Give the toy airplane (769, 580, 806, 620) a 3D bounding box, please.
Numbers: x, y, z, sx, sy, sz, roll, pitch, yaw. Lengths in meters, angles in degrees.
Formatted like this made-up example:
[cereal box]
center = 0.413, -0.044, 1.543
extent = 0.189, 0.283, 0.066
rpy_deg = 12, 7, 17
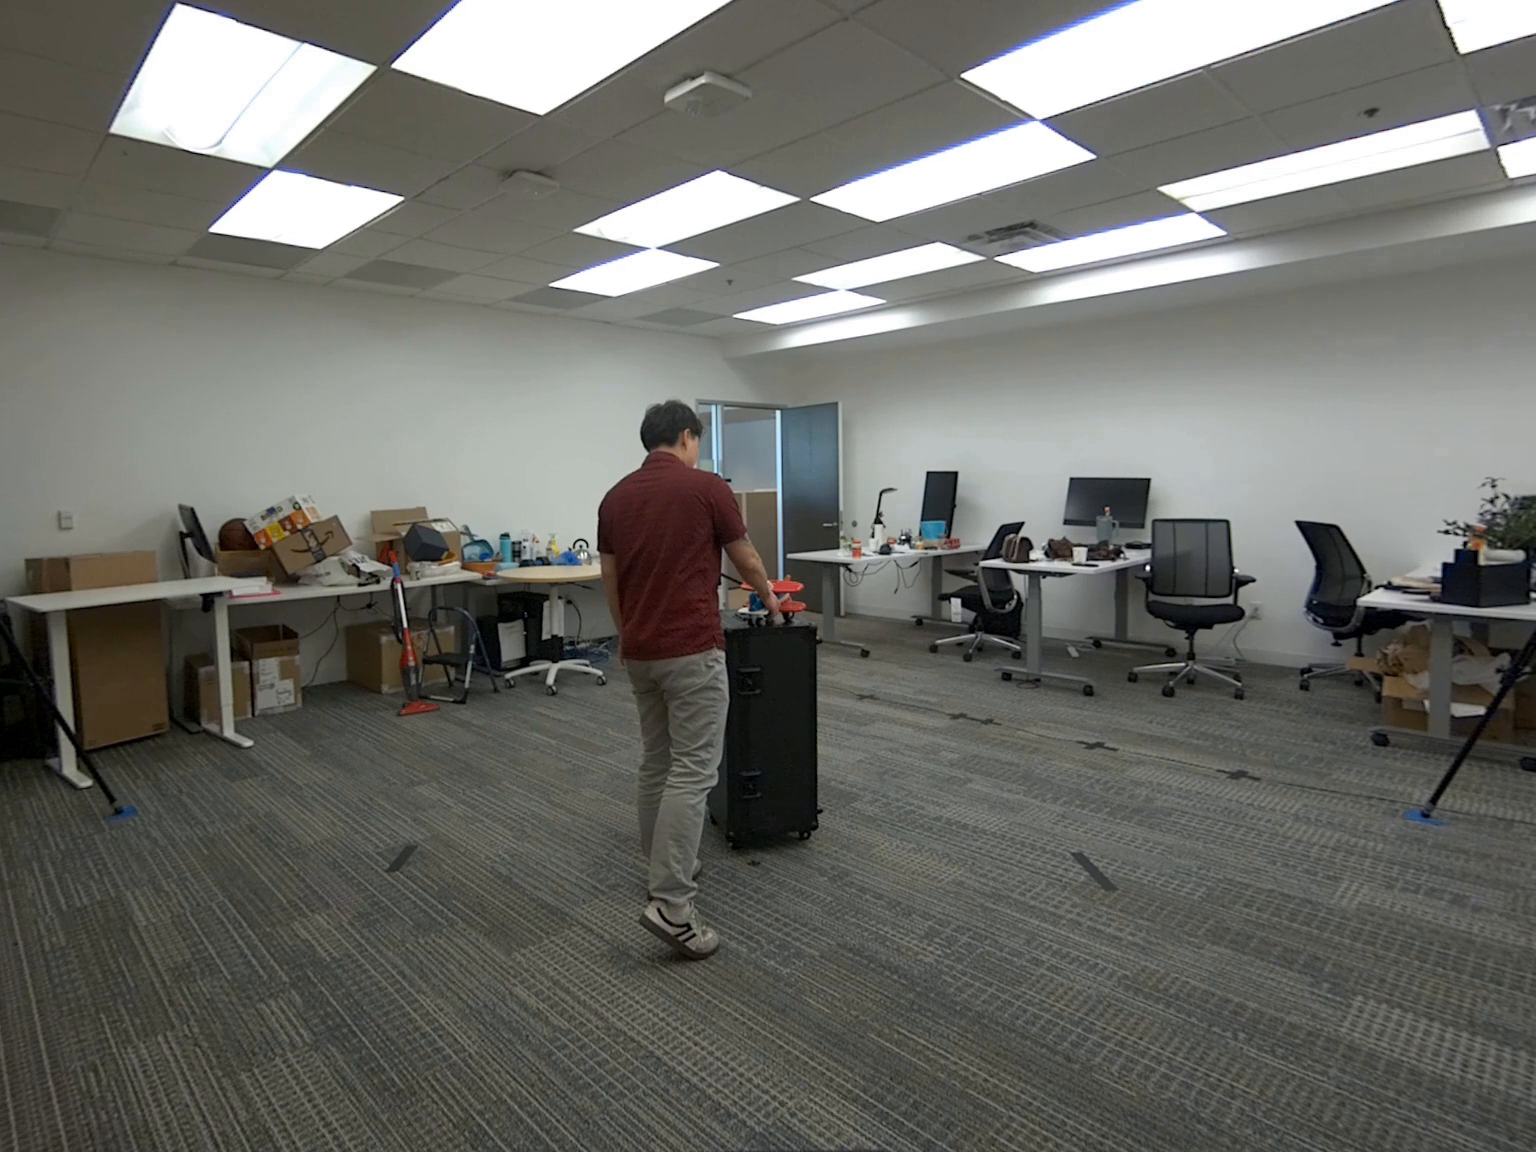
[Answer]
[toy airplane]
center = 0.020, 0.099, 3.214
extent = 0.252, 0.156, 0.259
rpy_deg = 0, 4, 3
